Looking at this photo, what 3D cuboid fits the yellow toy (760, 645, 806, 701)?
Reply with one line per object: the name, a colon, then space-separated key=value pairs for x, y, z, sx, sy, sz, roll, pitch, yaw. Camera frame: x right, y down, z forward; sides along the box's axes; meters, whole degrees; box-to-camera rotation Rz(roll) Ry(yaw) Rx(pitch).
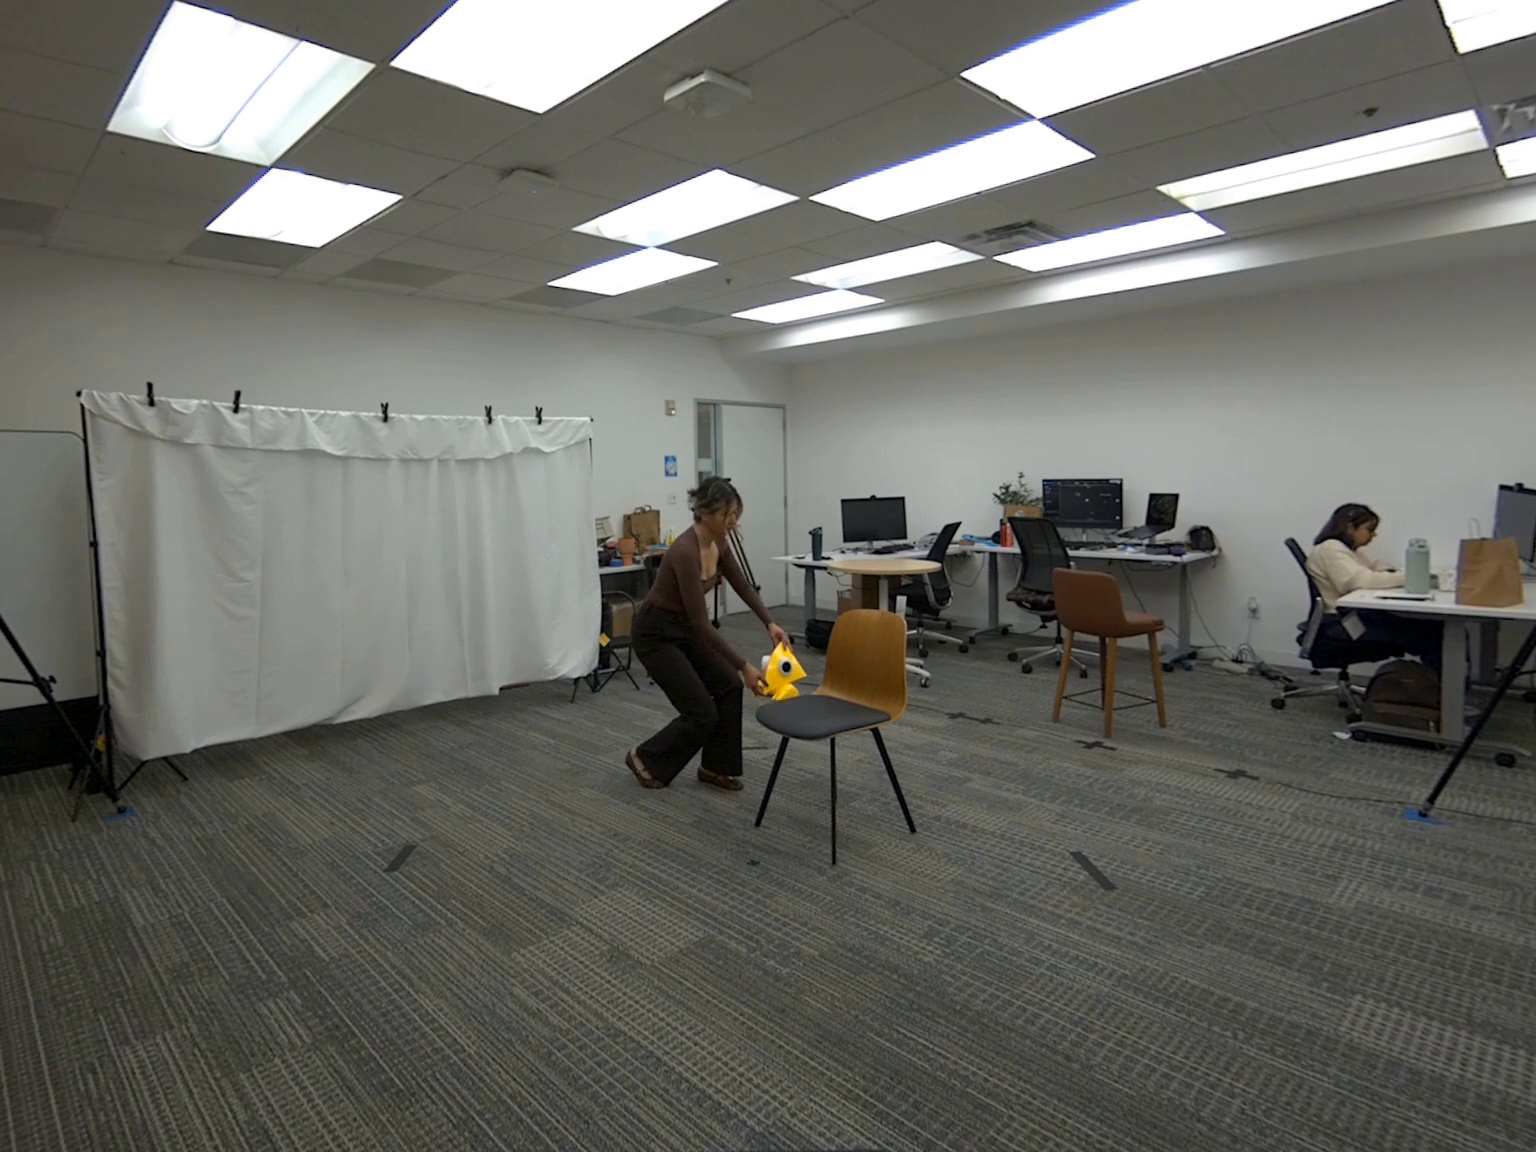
yellow toy: x=0.034 y=0.404 z=3.717 sx=0.210 sy=0.230 sz=0.188 roll=1 pitch=3 yaw=36
